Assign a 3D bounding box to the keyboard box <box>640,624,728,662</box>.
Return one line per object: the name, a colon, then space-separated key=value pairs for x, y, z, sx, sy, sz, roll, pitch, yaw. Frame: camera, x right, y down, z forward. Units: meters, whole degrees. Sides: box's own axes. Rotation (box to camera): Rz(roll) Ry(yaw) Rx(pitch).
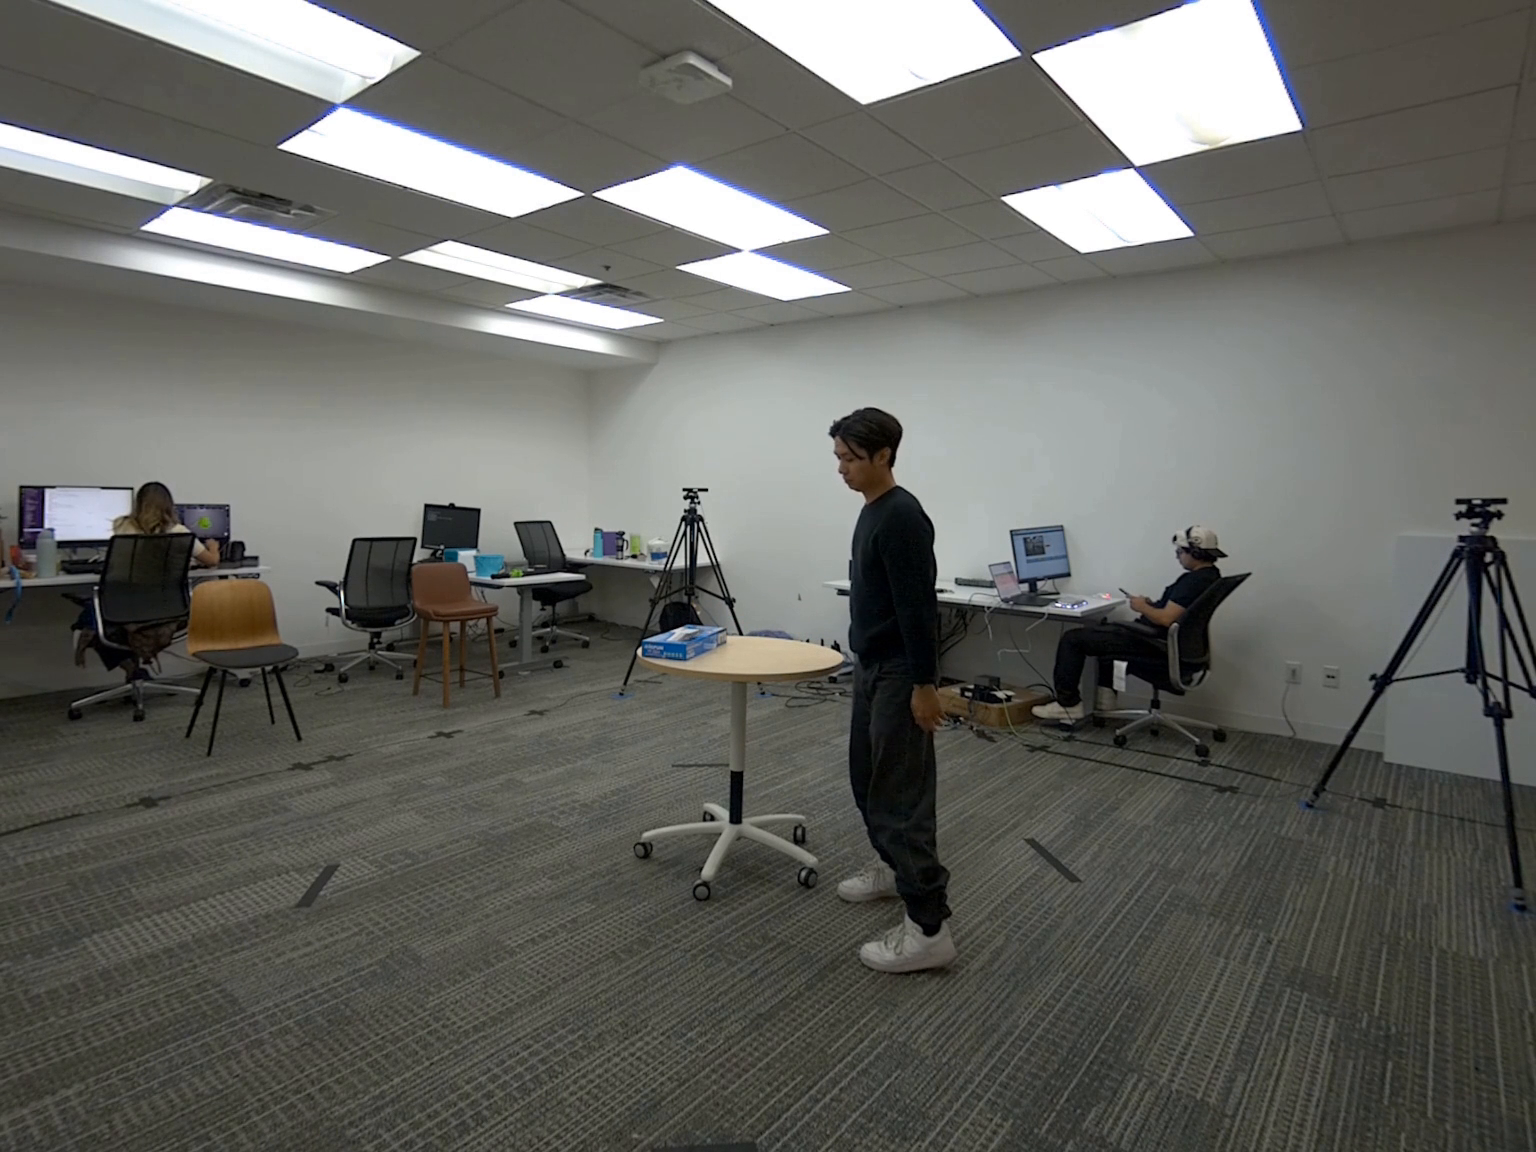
keyboard box: x=-0.313 y=0.246 z=3.216 sx=0.179 sy=0.059 sz=0.430 roll=3 pitch=5 yaw=17
